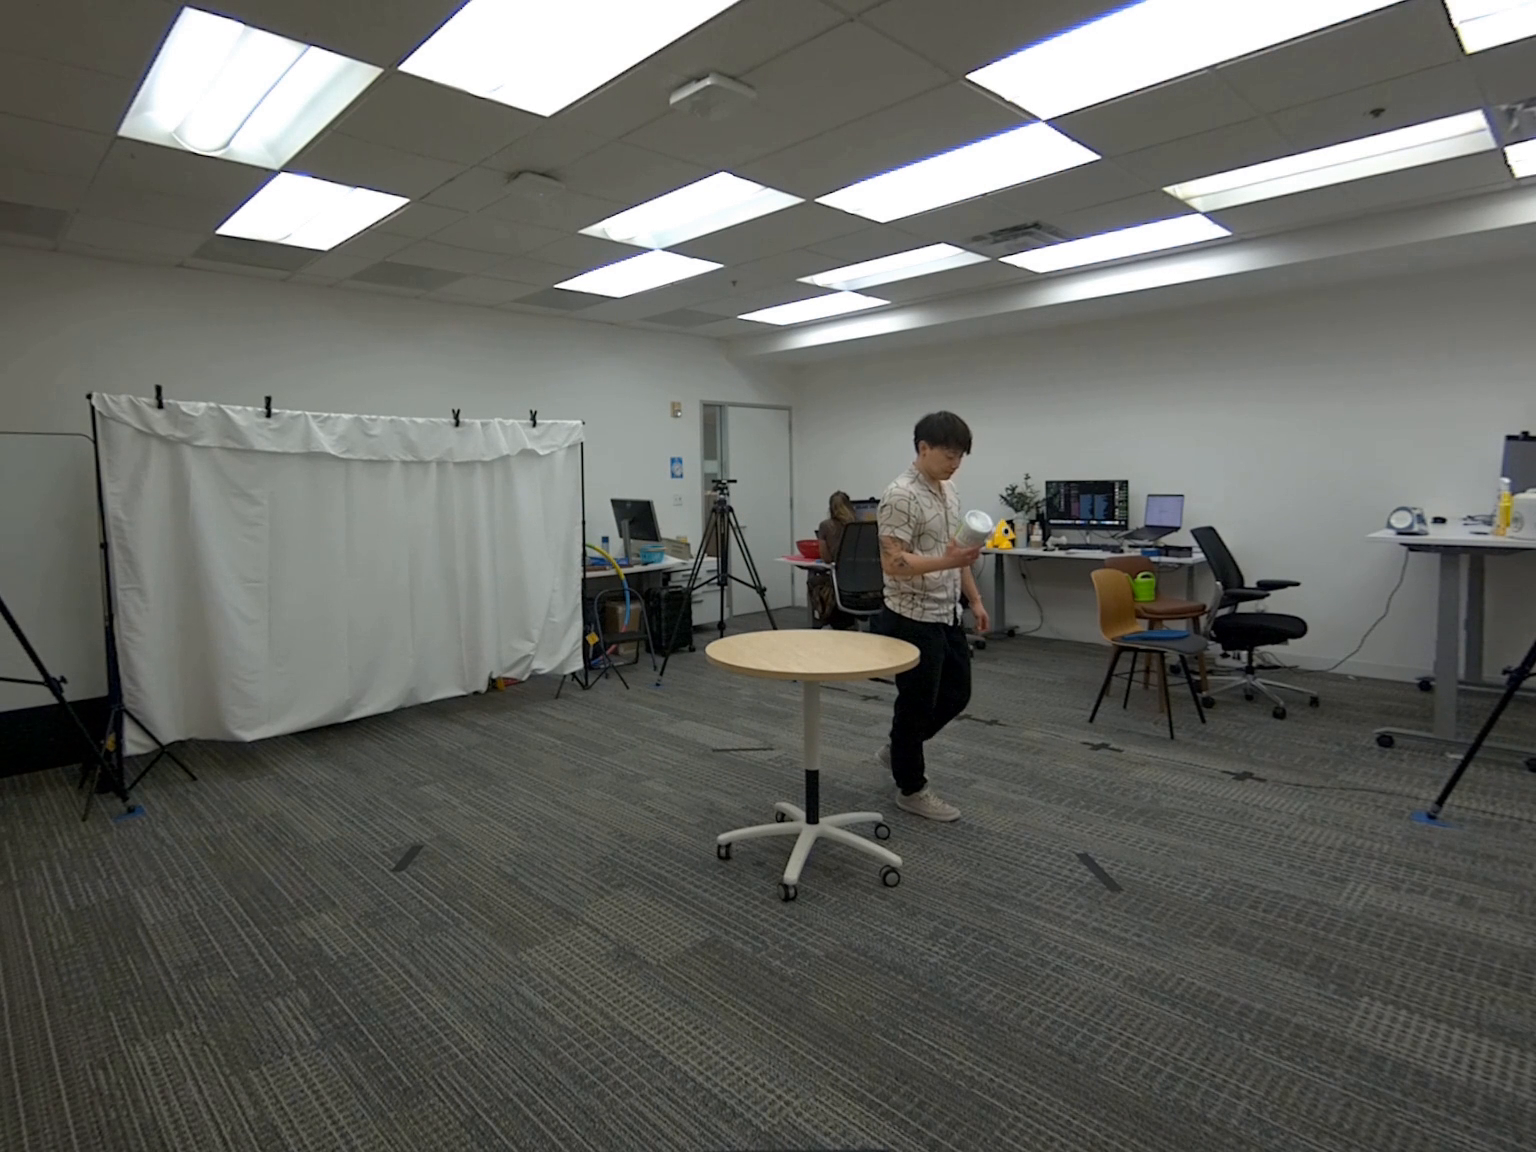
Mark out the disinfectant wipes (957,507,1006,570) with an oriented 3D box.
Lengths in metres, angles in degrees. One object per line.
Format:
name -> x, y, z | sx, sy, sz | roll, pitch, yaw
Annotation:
disinfectant wipes -> 0.762, -0.137, 3.169 | 0.116, 0.121, 0.213 | -1, -38, -11
